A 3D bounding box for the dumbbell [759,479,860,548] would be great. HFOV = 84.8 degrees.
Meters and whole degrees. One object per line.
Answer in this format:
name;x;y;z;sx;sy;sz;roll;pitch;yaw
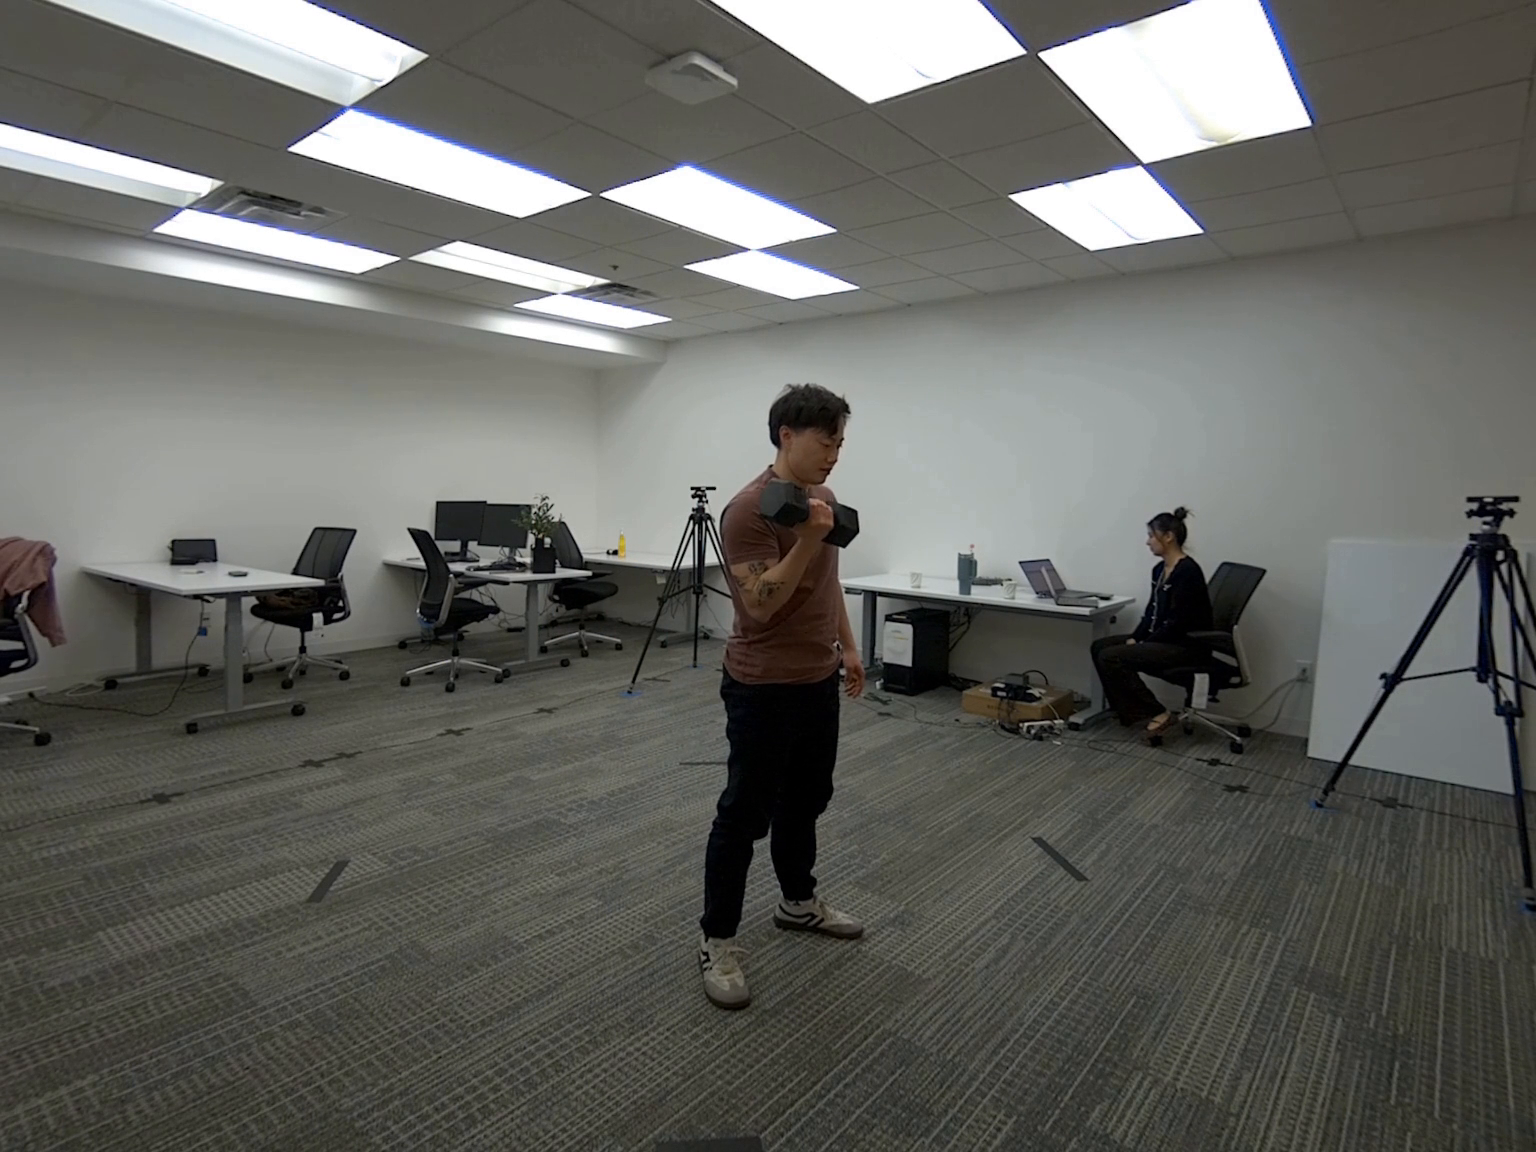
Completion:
dumbbell;0.106;-0.152;2.180;0.111;0.125;0.282;-22;-29;39
